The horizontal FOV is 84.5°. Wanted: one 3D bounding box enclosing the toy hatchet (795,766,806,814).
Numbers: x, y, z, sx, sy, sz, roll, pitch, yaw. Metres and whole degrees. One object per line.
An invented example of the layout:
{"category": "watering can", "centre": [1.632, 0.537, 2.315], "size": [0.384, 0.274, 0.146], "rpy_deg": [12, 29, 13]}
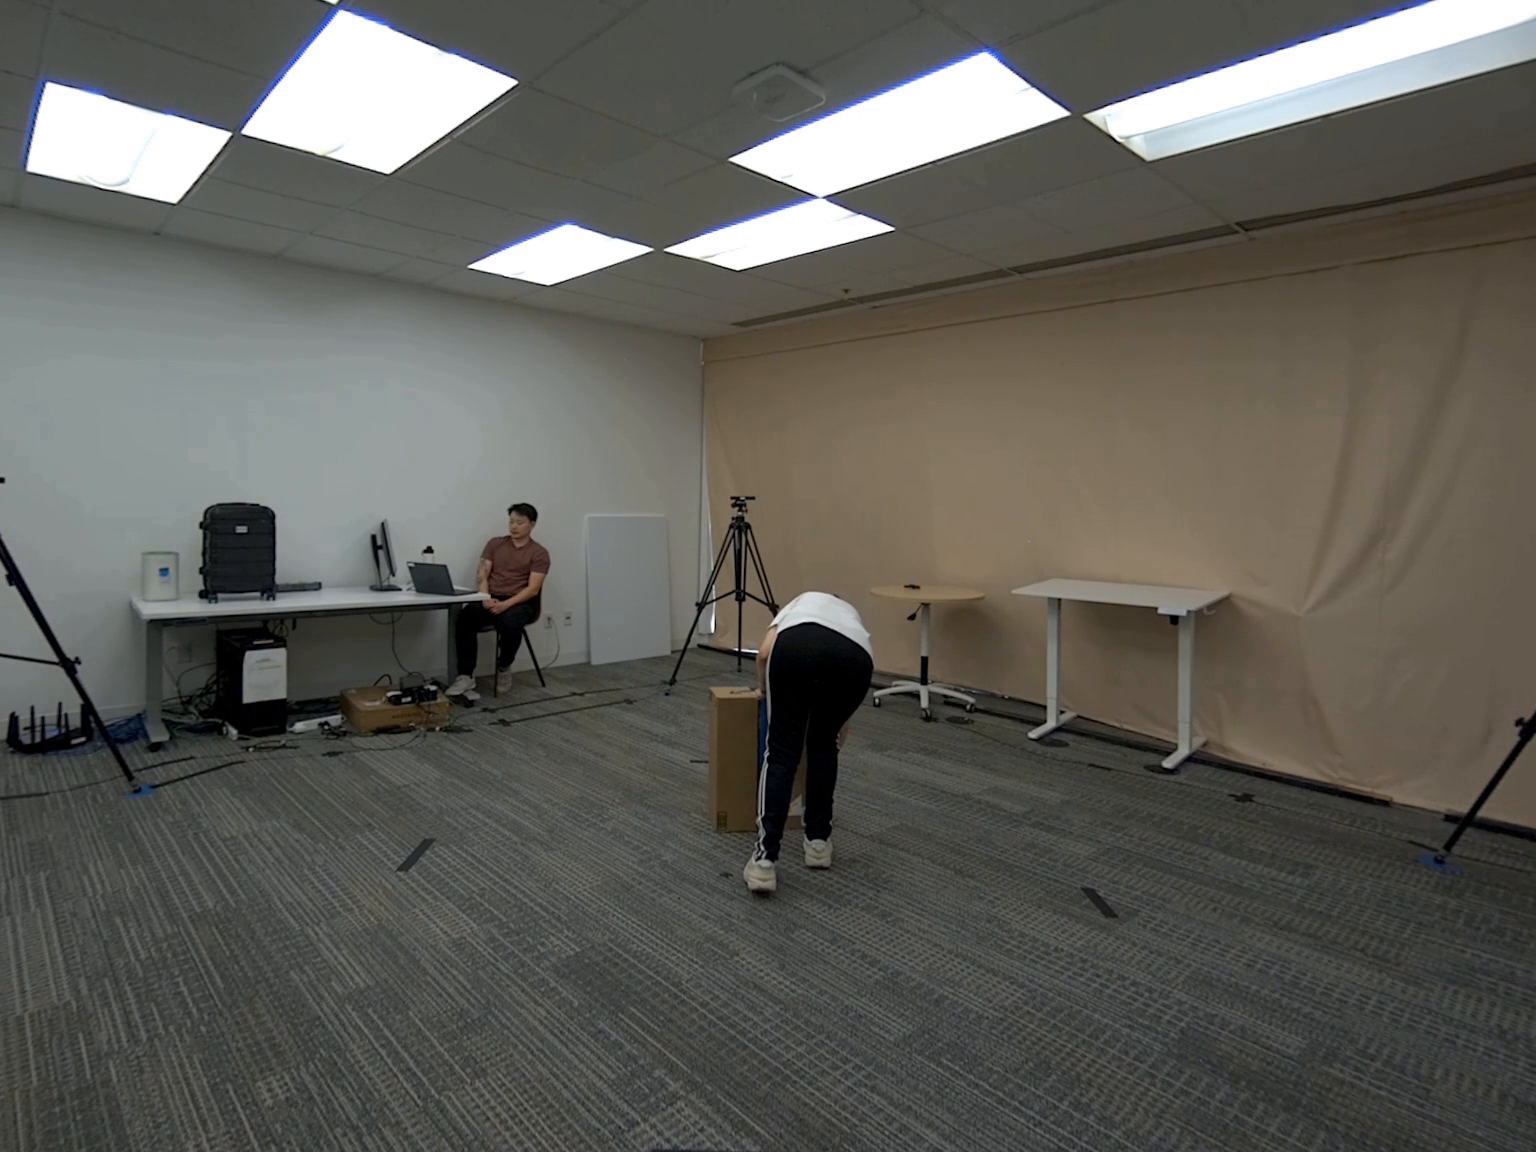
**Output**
{"category": "toy hatchet", "centre": [0.174, 0.883, 3.625], "size": [0.029, 0.131, 0.272], "rpy_deg": [34, 18, -7]}
